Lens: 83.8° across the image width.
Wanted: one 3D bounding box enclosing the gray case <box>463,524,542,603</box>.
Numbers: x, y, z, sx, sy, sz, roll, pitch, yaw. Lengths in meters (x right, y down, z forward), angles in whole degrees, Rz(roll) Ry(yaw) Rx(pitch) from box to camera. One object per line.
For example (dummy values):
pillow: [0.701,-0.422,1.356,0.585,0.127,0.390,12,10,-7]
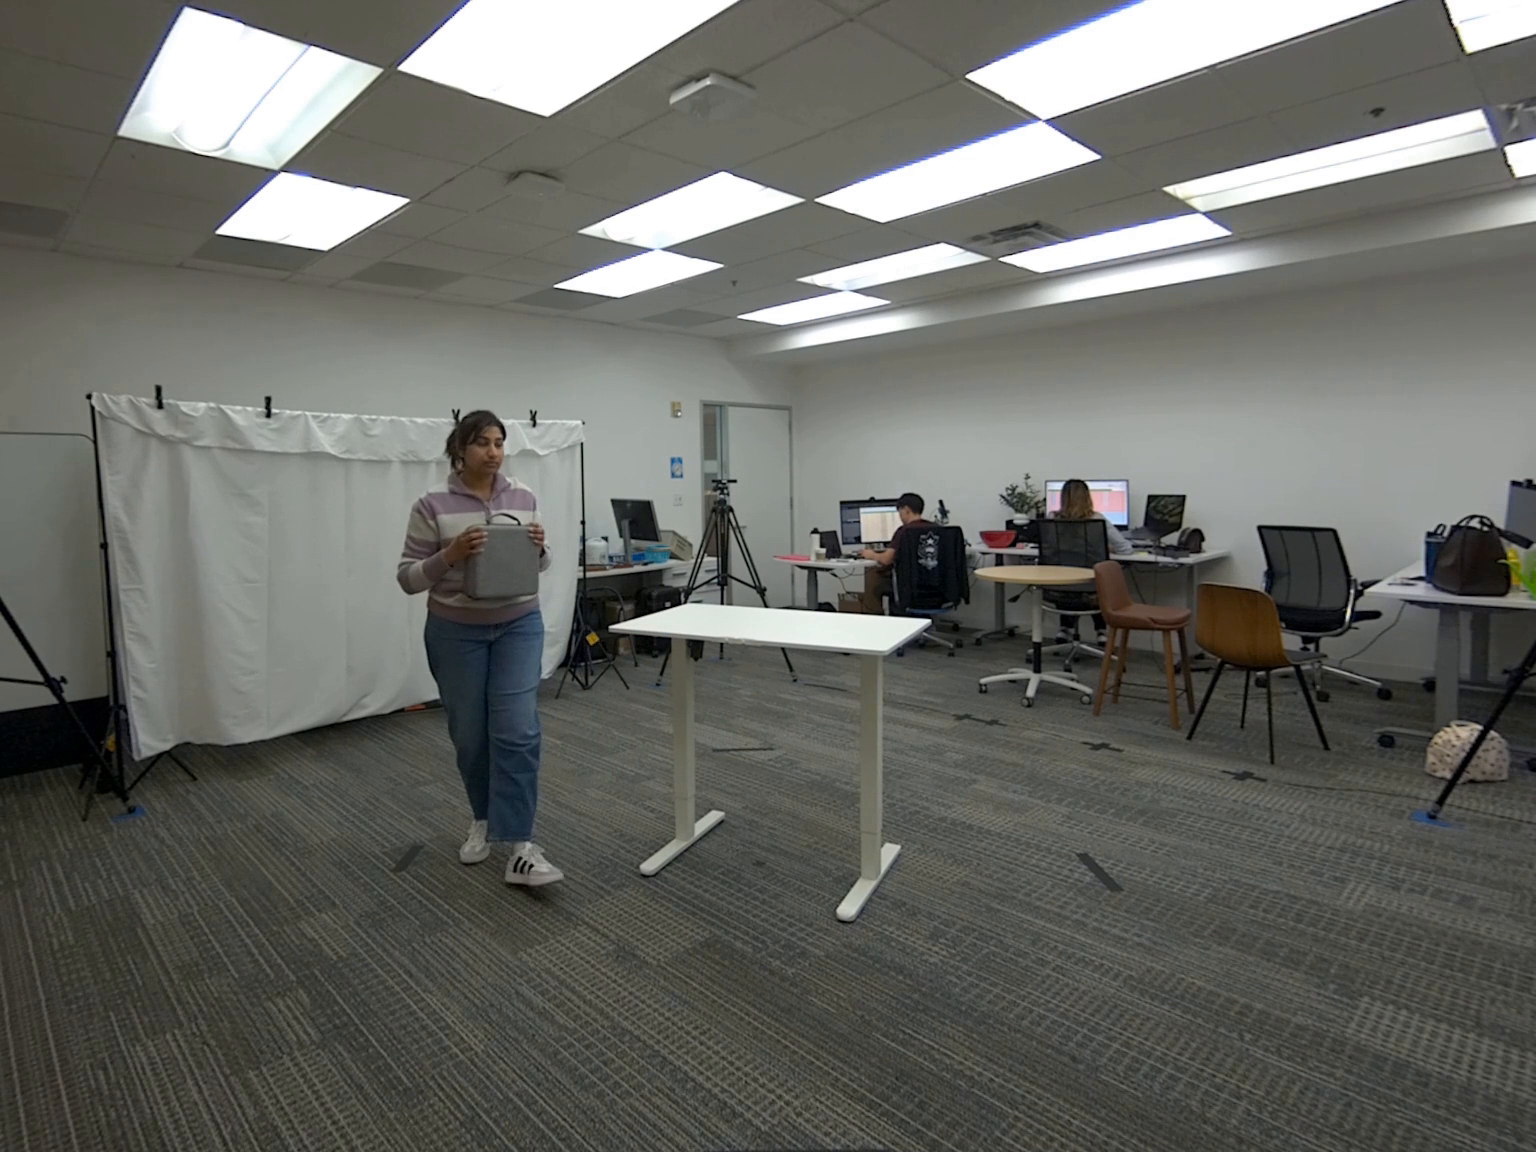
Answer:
gray case: [-0.931,-0.051,2.972,0.107,0.260,0.250,4,4,40]
